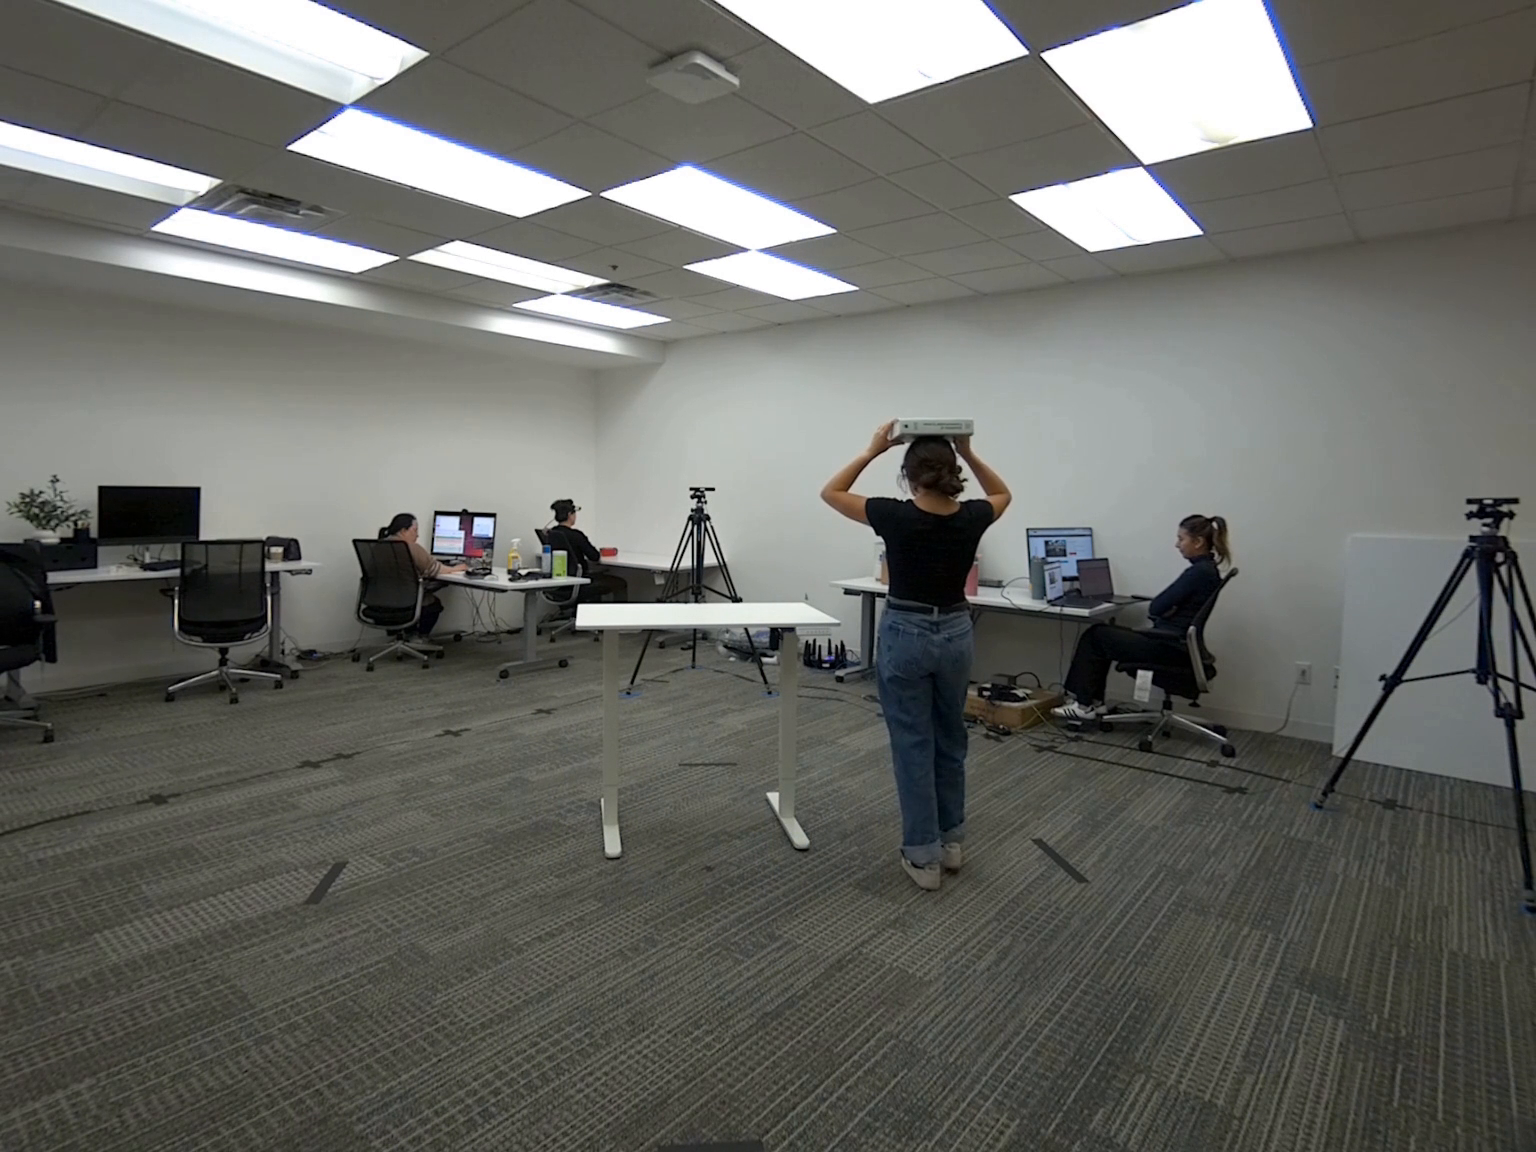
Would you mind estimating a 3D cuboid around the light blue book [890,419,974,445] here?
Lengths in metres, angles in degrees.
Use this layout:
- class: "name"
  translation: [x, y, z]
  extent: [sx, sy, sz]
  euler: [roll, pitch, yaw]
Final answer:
- class: "light blue book"
  translation: [0.580, -0.529, 3.046]
  extent: [0.259, 0.059, 0.193]
  euler: [0, 3, -6]
